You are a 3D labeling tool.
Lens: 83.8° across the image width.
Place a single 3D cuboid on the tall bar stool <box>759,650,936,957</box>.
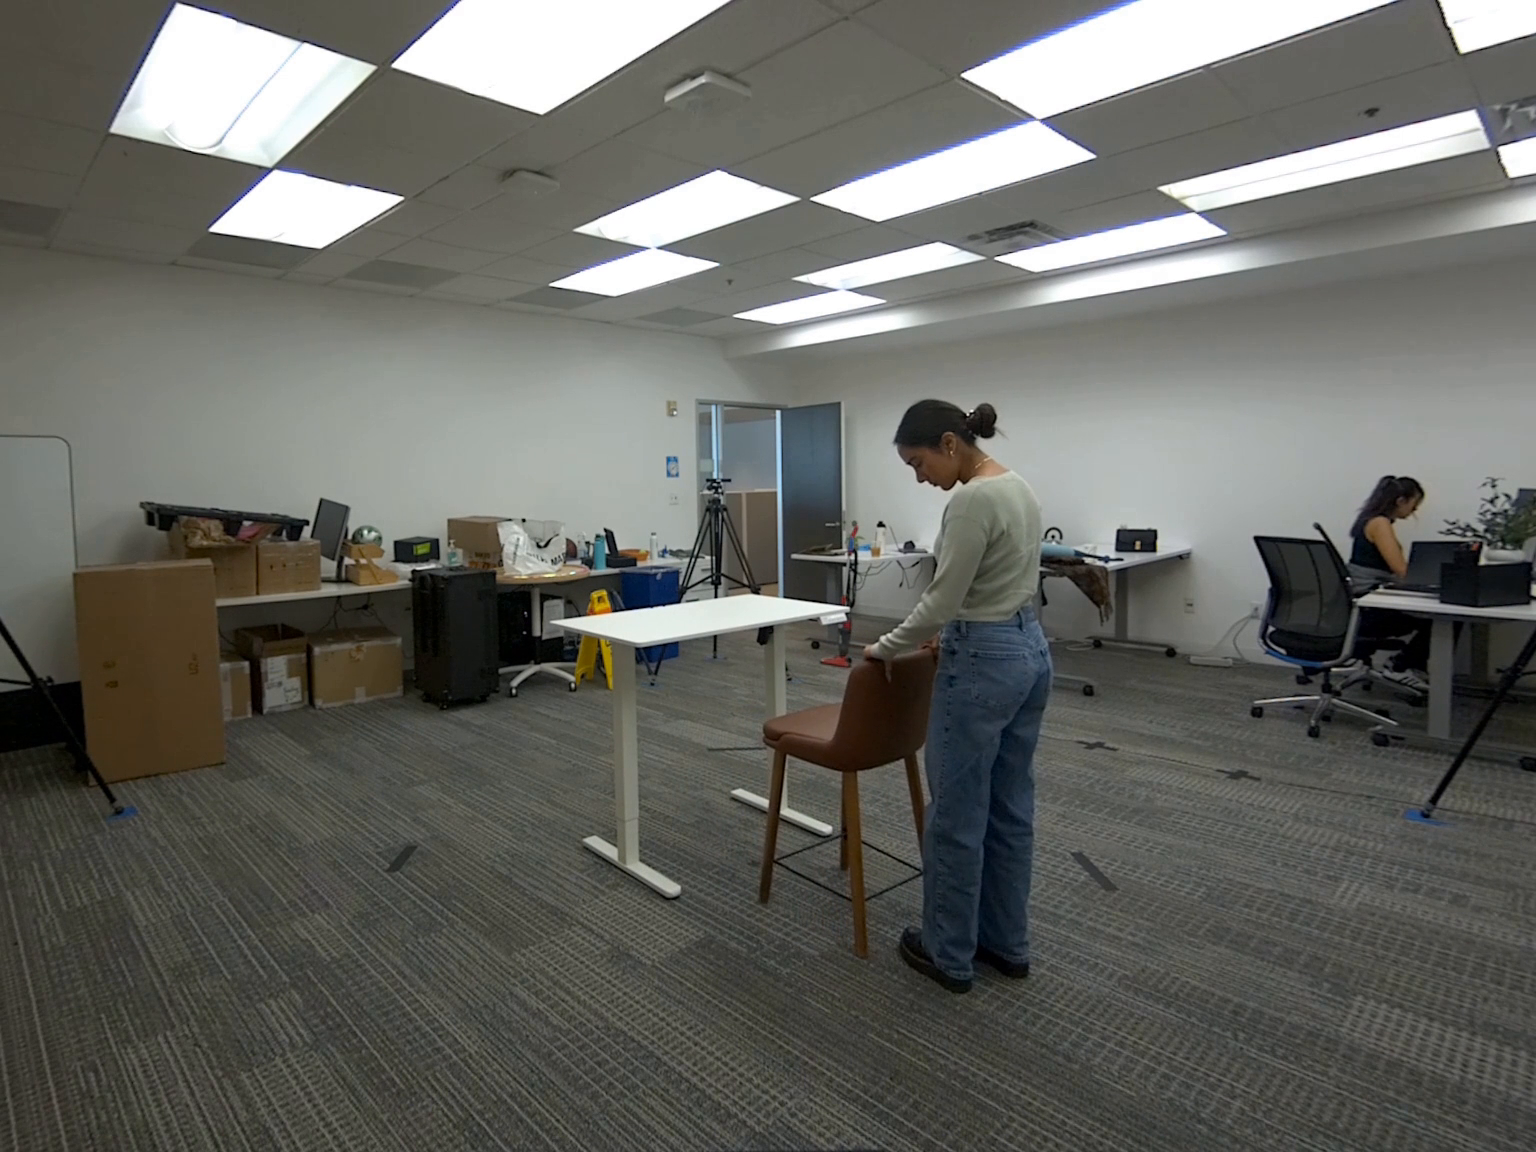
[{"bbox_3d":[0.274,0.641,2.727,0.444,0.885,0.482,-4,7,-38],"label":"tall bar stool"}]
